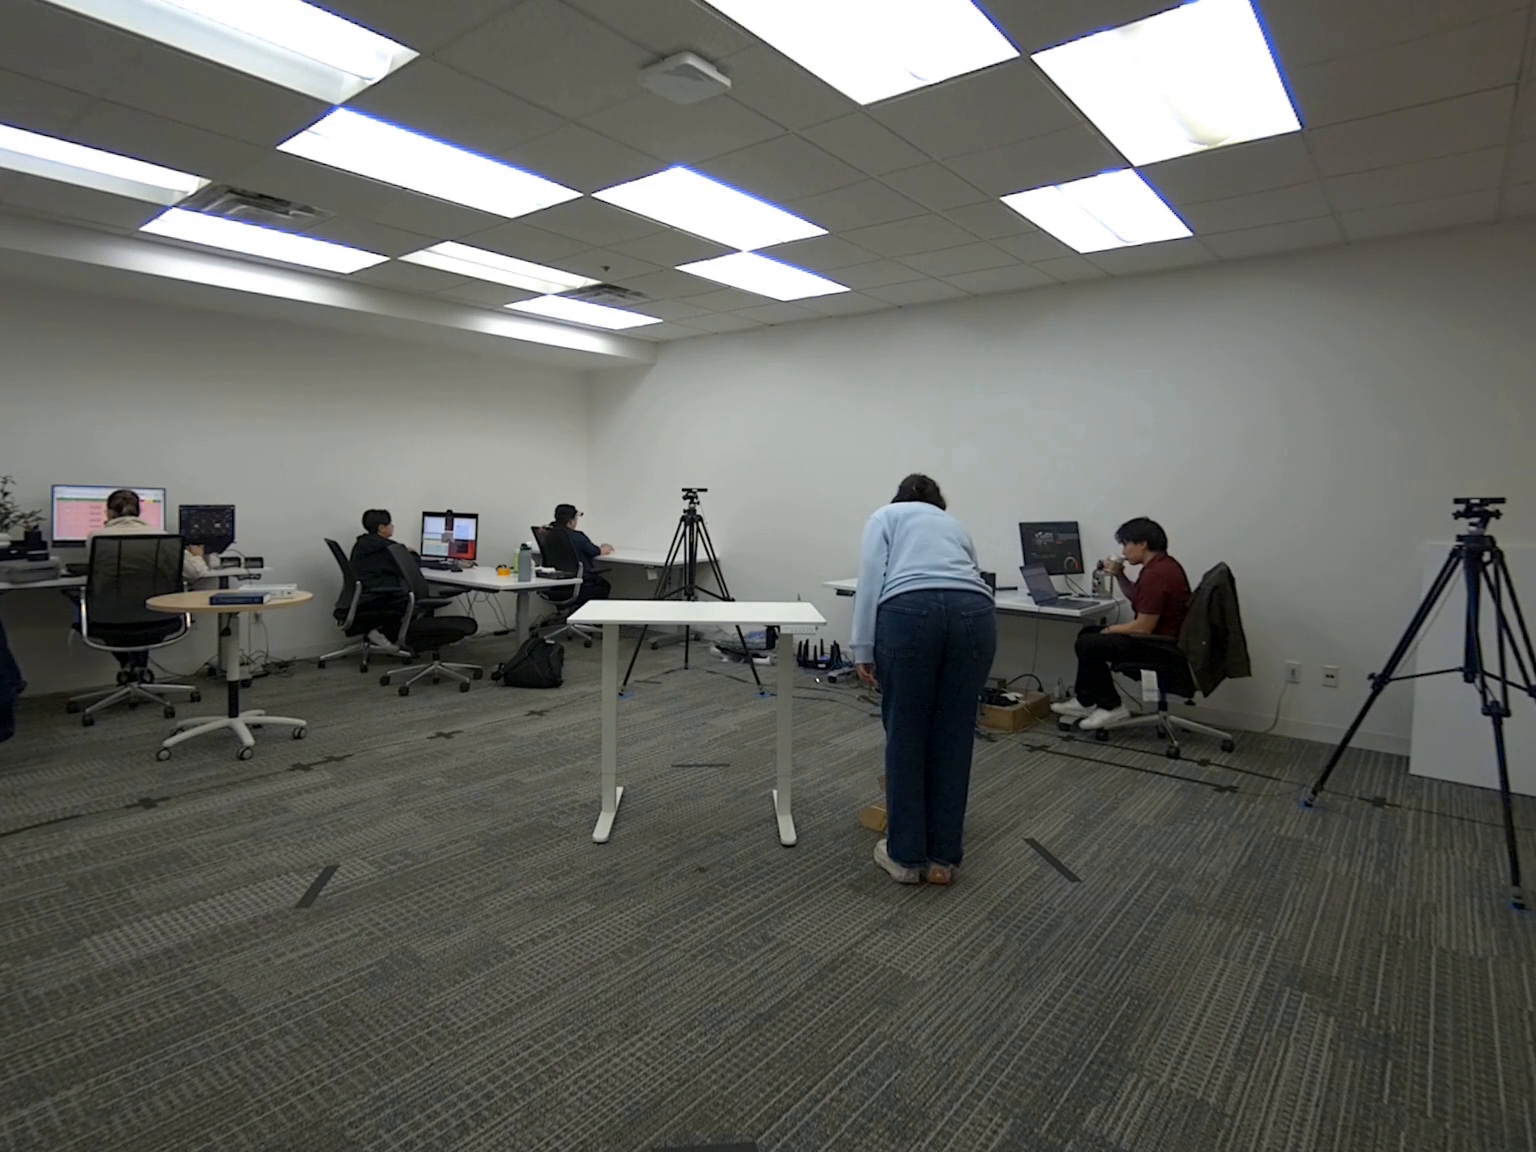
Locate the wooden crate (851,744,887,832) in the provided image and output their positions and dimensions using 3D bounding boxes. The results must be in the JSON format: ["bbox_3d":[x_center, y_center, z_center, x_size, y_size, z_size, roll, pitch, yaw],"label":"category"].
[{"bbox_3d":[0.578,0.897,3.567,0.312,0.272,0.315,6,7,42],"label":"wooden crate"}]
